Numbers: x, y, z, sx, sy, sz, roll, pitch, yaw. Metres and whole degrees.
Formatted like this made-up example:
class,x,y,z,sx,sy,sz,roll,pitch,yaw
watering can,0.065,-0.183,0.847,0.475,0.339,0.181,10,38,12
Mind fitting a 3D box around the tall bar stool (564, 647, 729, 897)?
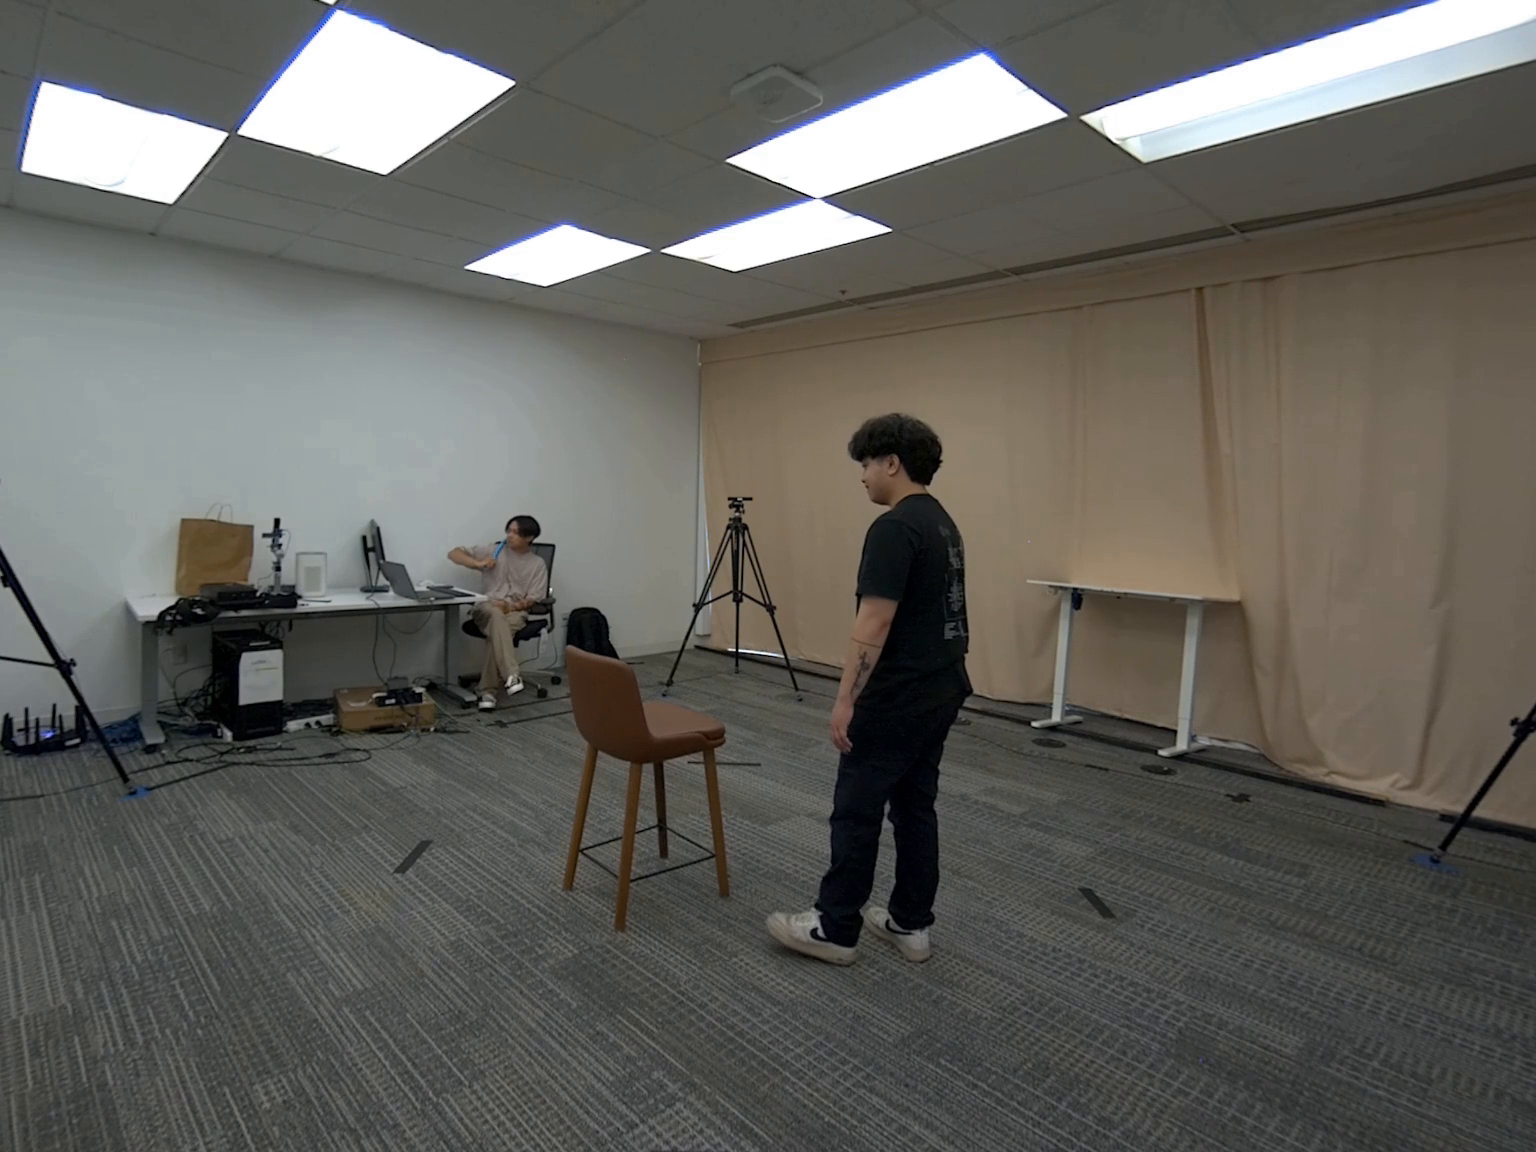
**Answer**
class,x,y,z,sx,sy,sz,roll,pitch,yaw
tall bar stool,-0.438,0.680,2.944,0.457,0.886,0.468,-5,6,-40
